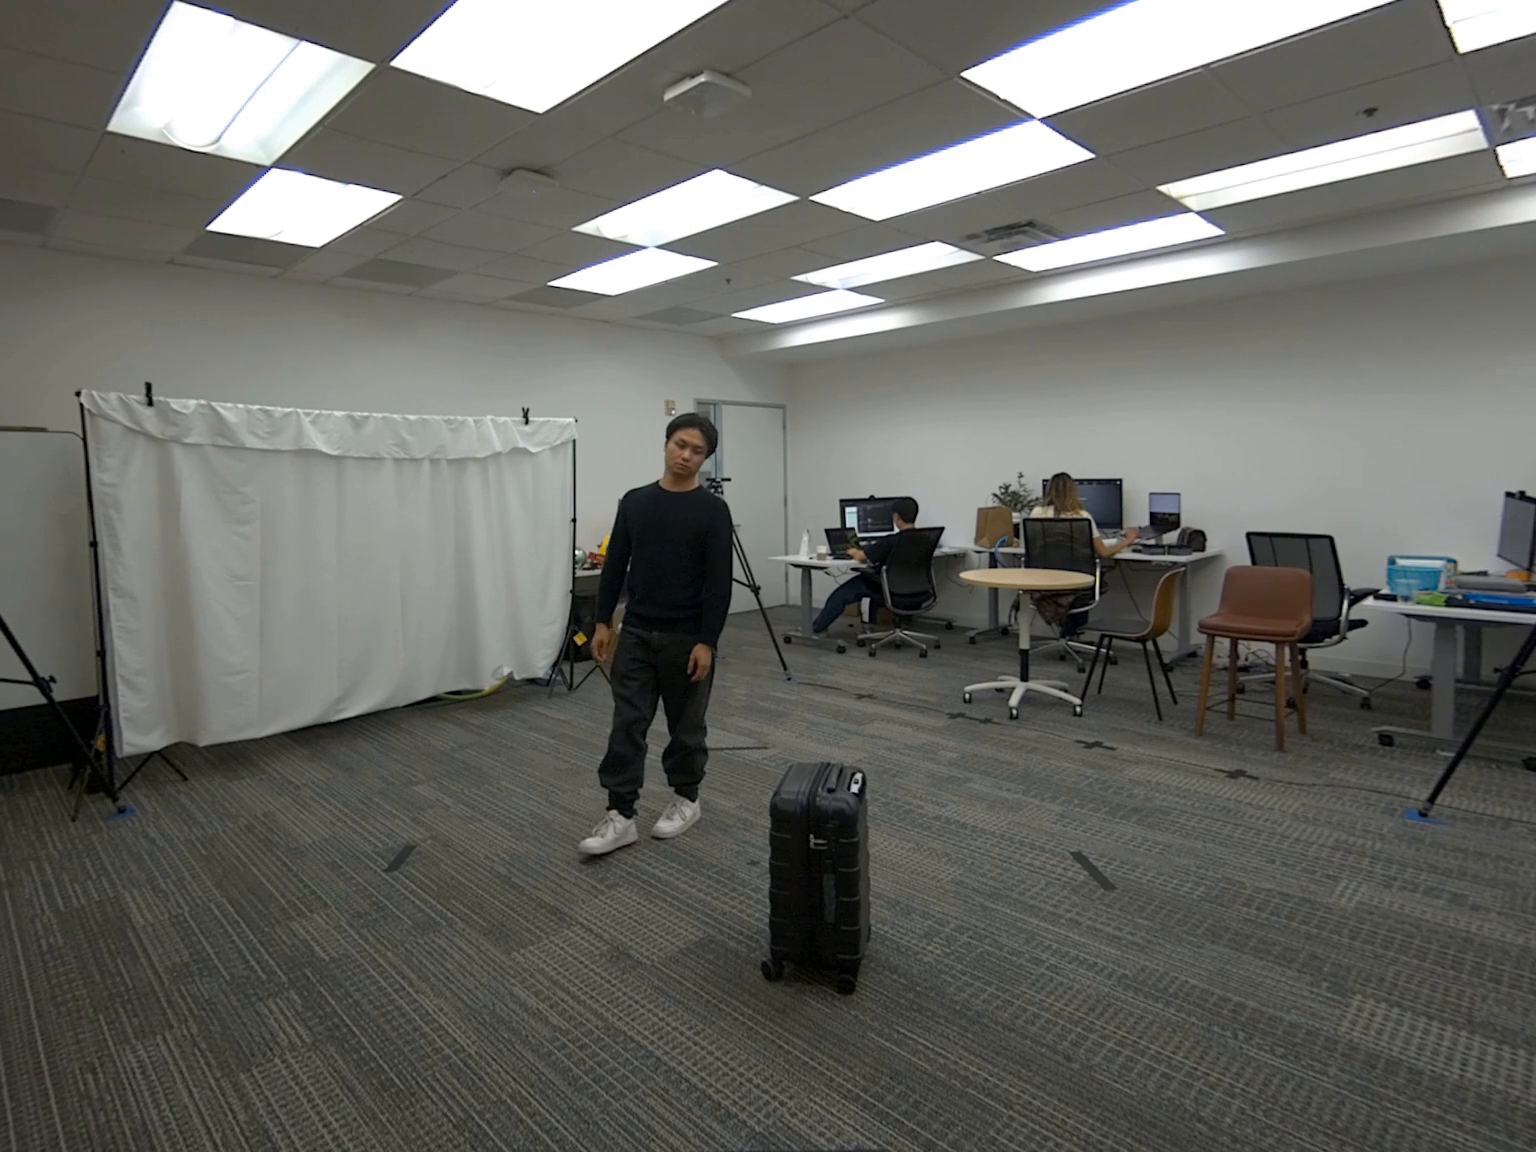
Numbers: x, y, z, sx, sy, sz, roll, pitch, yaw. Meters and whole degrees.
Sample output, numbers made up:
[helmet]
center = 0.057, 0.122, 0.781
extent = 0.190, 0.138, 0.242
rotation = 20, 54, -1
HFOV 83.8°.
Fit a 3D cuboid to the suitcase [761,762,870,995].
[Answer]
[suitcase]
center = 0.162, 0.838, 2.462
extent = 0.251, 0.547, 0.372
rotation = -1, 5, 13
